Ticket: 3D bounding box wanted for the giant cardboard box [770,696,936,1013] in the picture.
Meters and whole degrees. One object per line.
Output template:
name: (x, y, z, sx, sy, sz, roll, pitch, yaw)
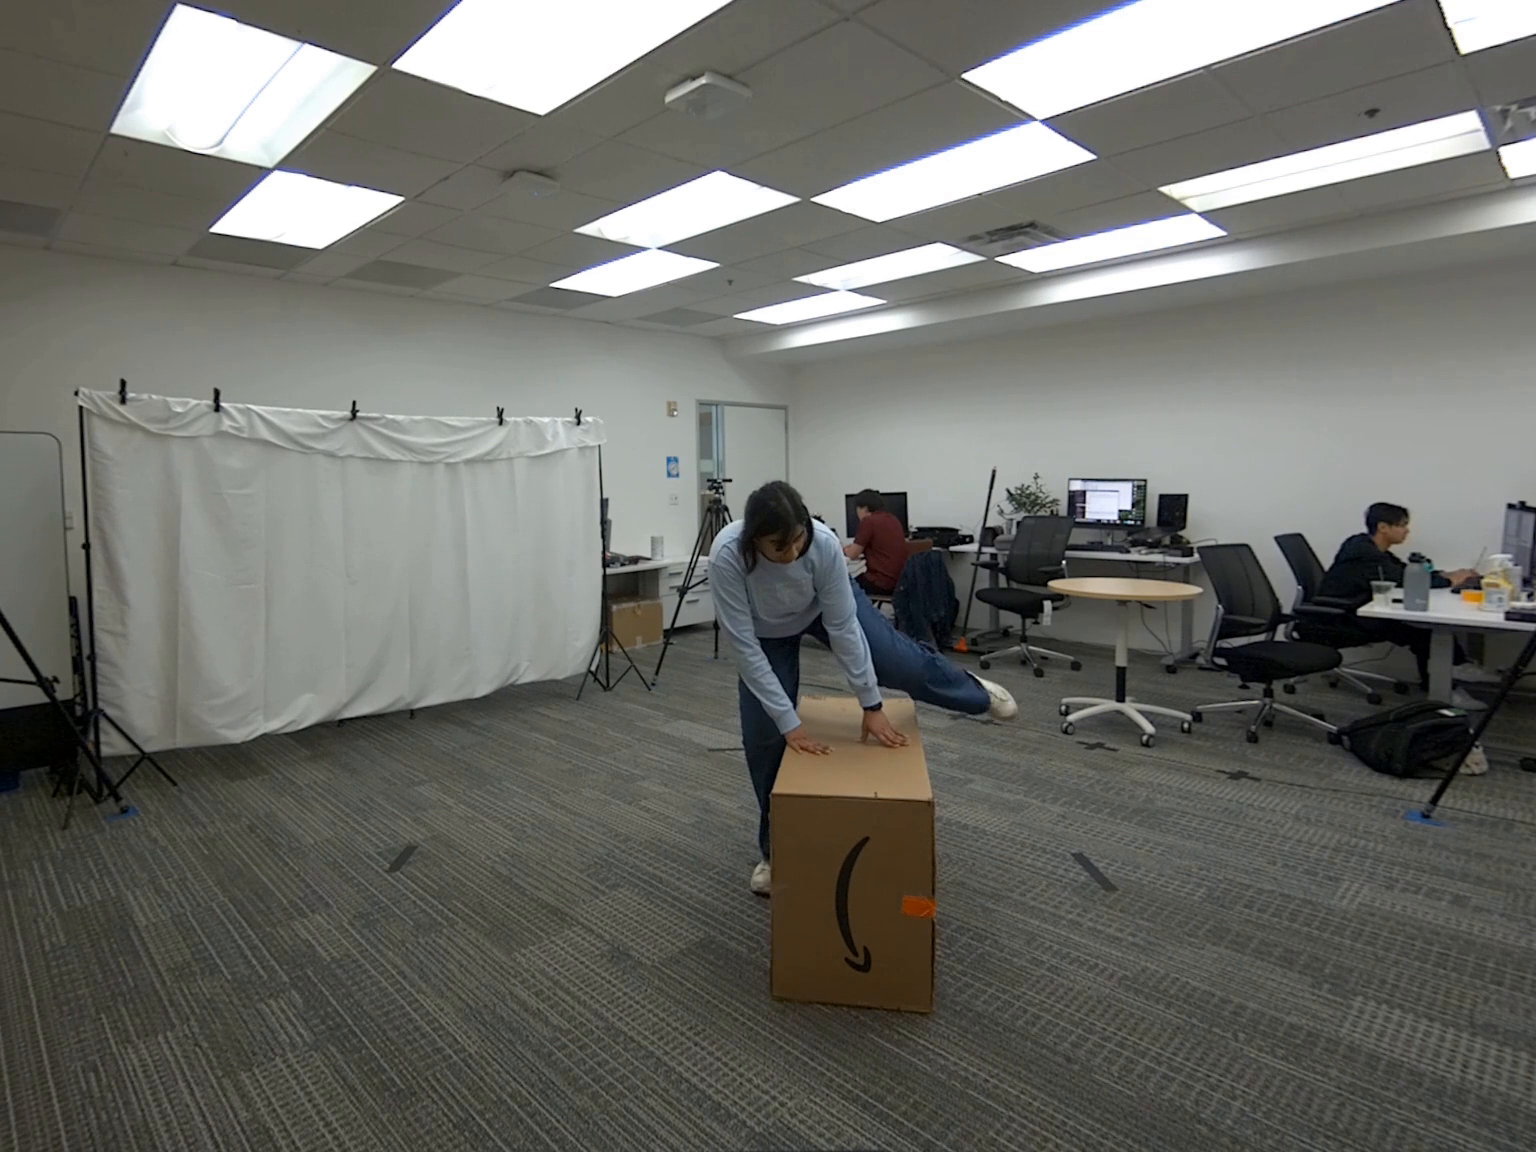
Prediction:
giant cardboard box: (0.287, 0.801, 2.732, 0.429, 0.575, 1.022, 0, 6, 6)
